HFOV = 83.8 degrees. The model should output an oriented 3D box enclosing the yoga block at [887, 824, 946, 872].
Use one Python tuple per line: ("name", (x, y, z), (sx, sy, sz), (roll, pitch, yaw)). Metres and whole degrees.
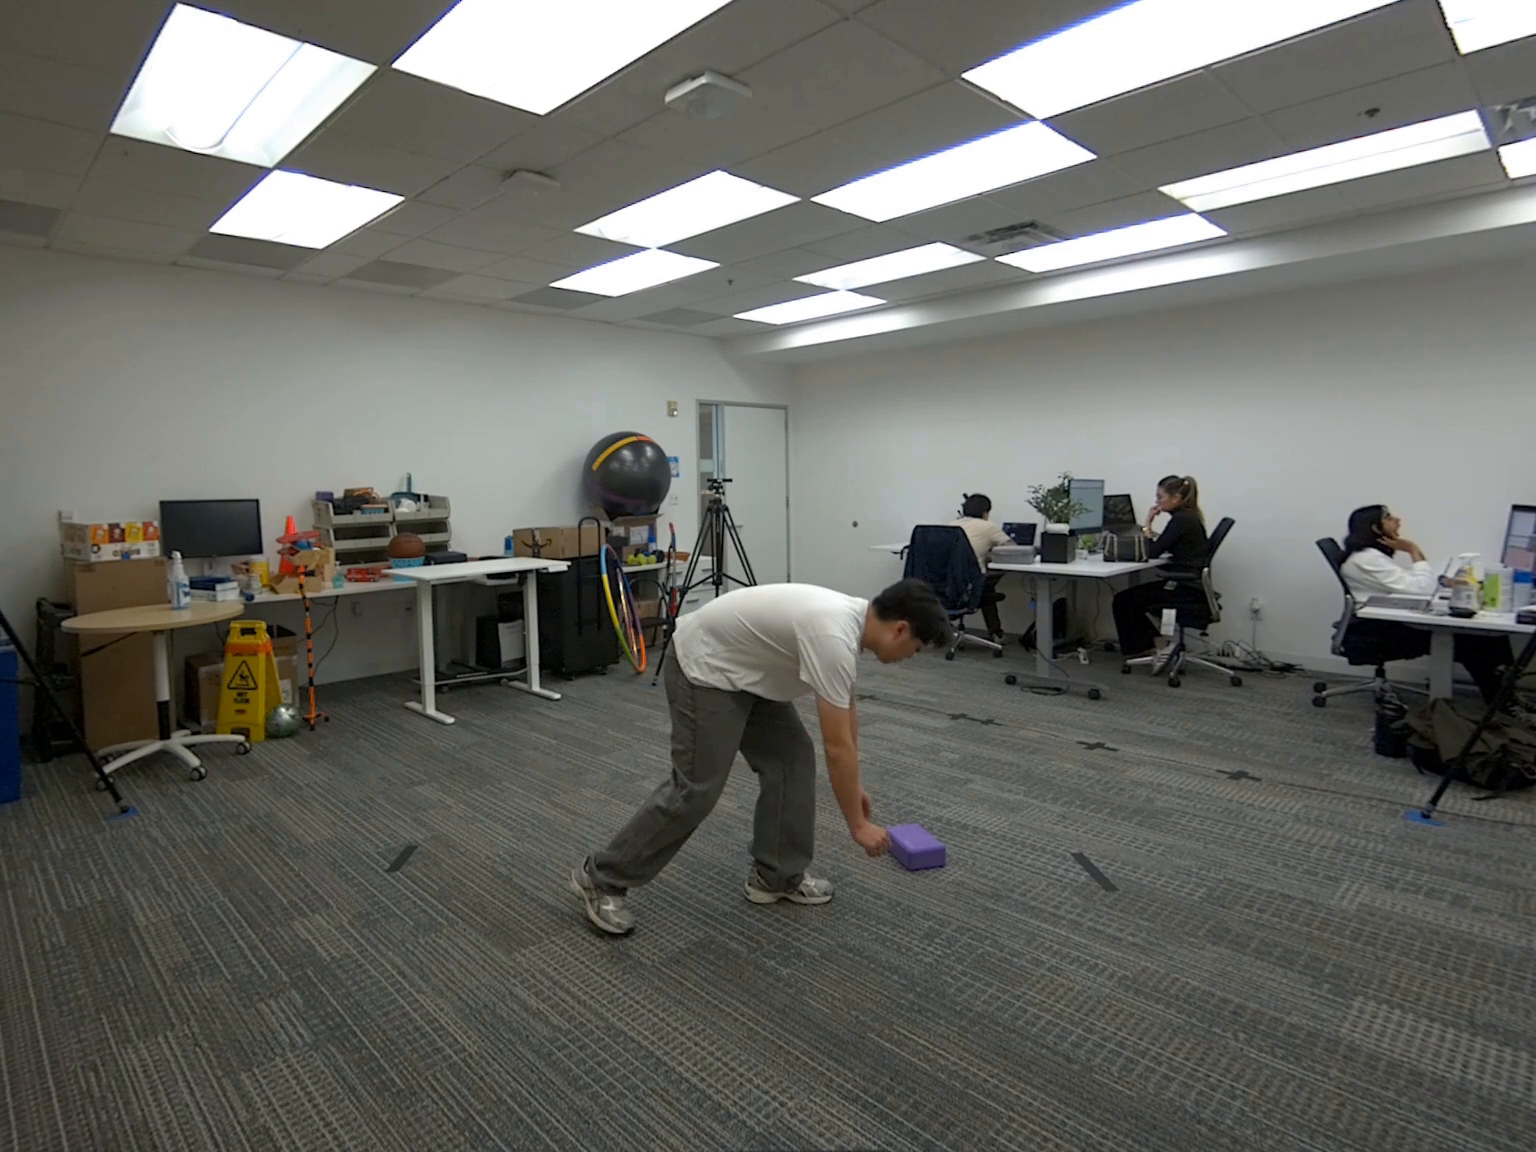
("yoga block", (0.539, 0.992, 3.144), (0.147, 0.076, 0.233), (-3, 6, -16))
